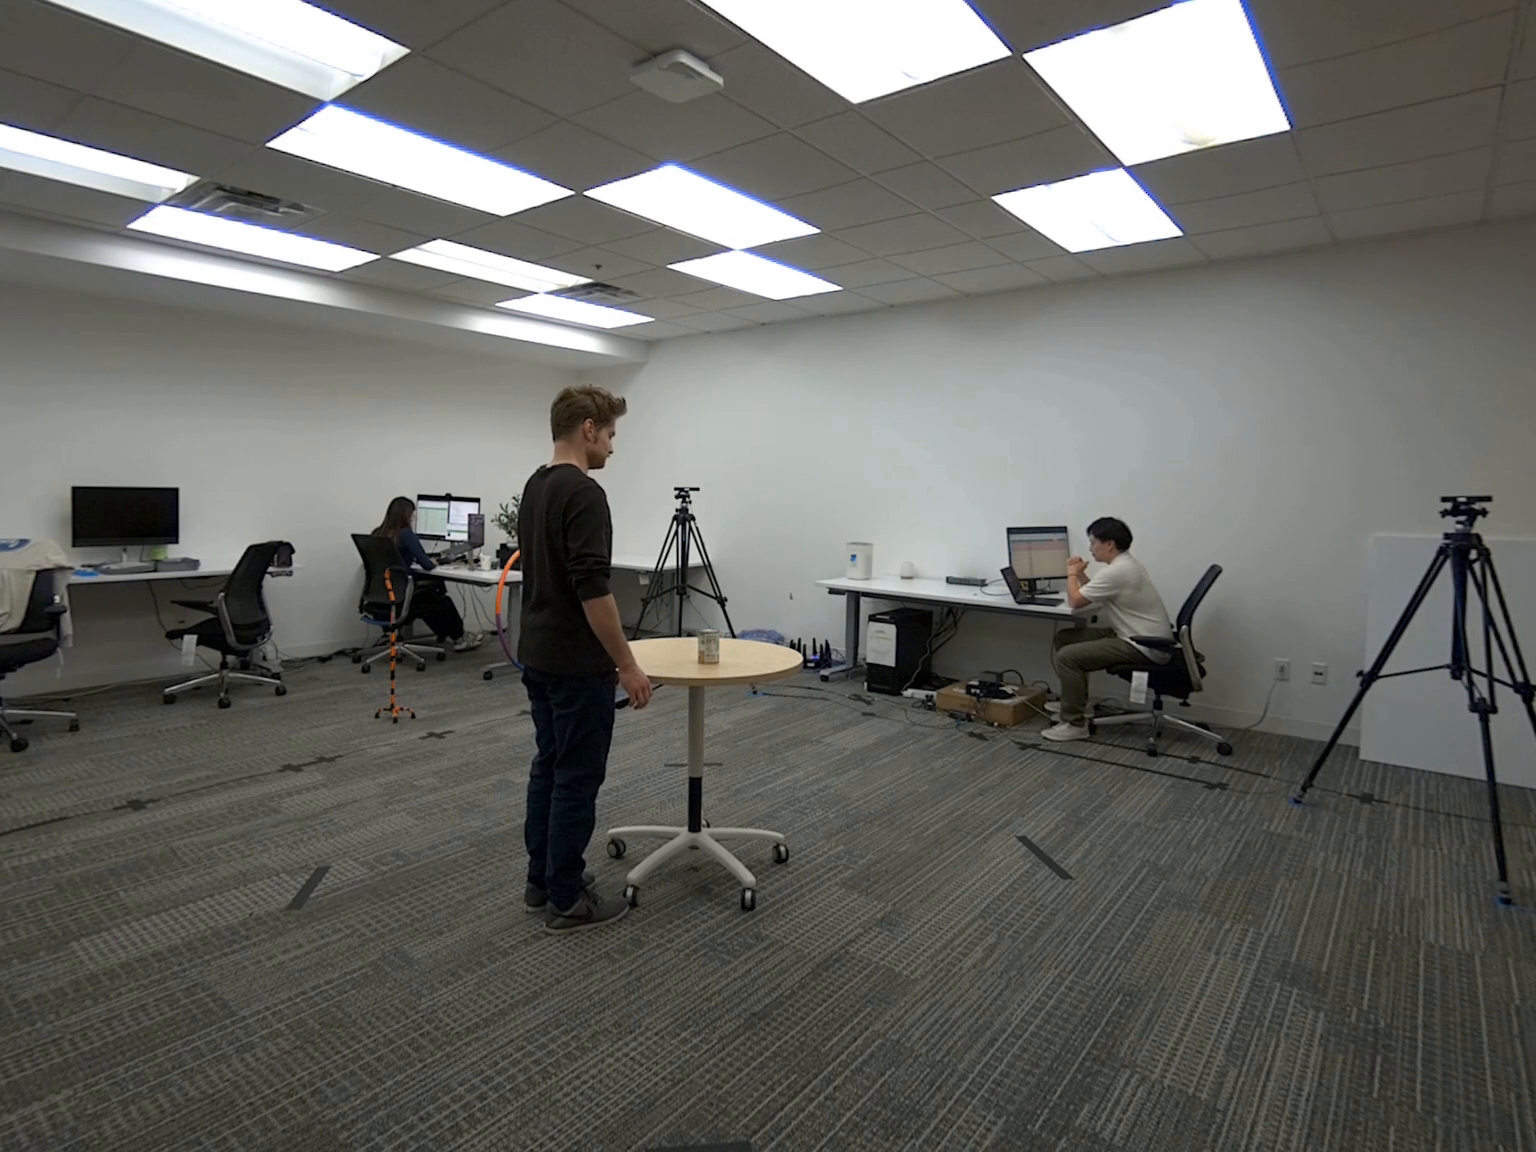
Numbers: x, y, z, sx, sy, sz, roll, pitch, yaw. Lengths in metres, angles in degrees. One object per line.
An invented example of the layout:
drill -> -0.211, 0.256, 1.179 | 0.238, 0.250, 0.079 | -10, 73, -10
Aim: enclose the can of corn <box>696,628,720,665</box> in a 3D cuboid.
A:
can of corn -> -0.217, 0.242, 2.940 | 0.074, 0.111, 0.074 | 2, 3, -2
